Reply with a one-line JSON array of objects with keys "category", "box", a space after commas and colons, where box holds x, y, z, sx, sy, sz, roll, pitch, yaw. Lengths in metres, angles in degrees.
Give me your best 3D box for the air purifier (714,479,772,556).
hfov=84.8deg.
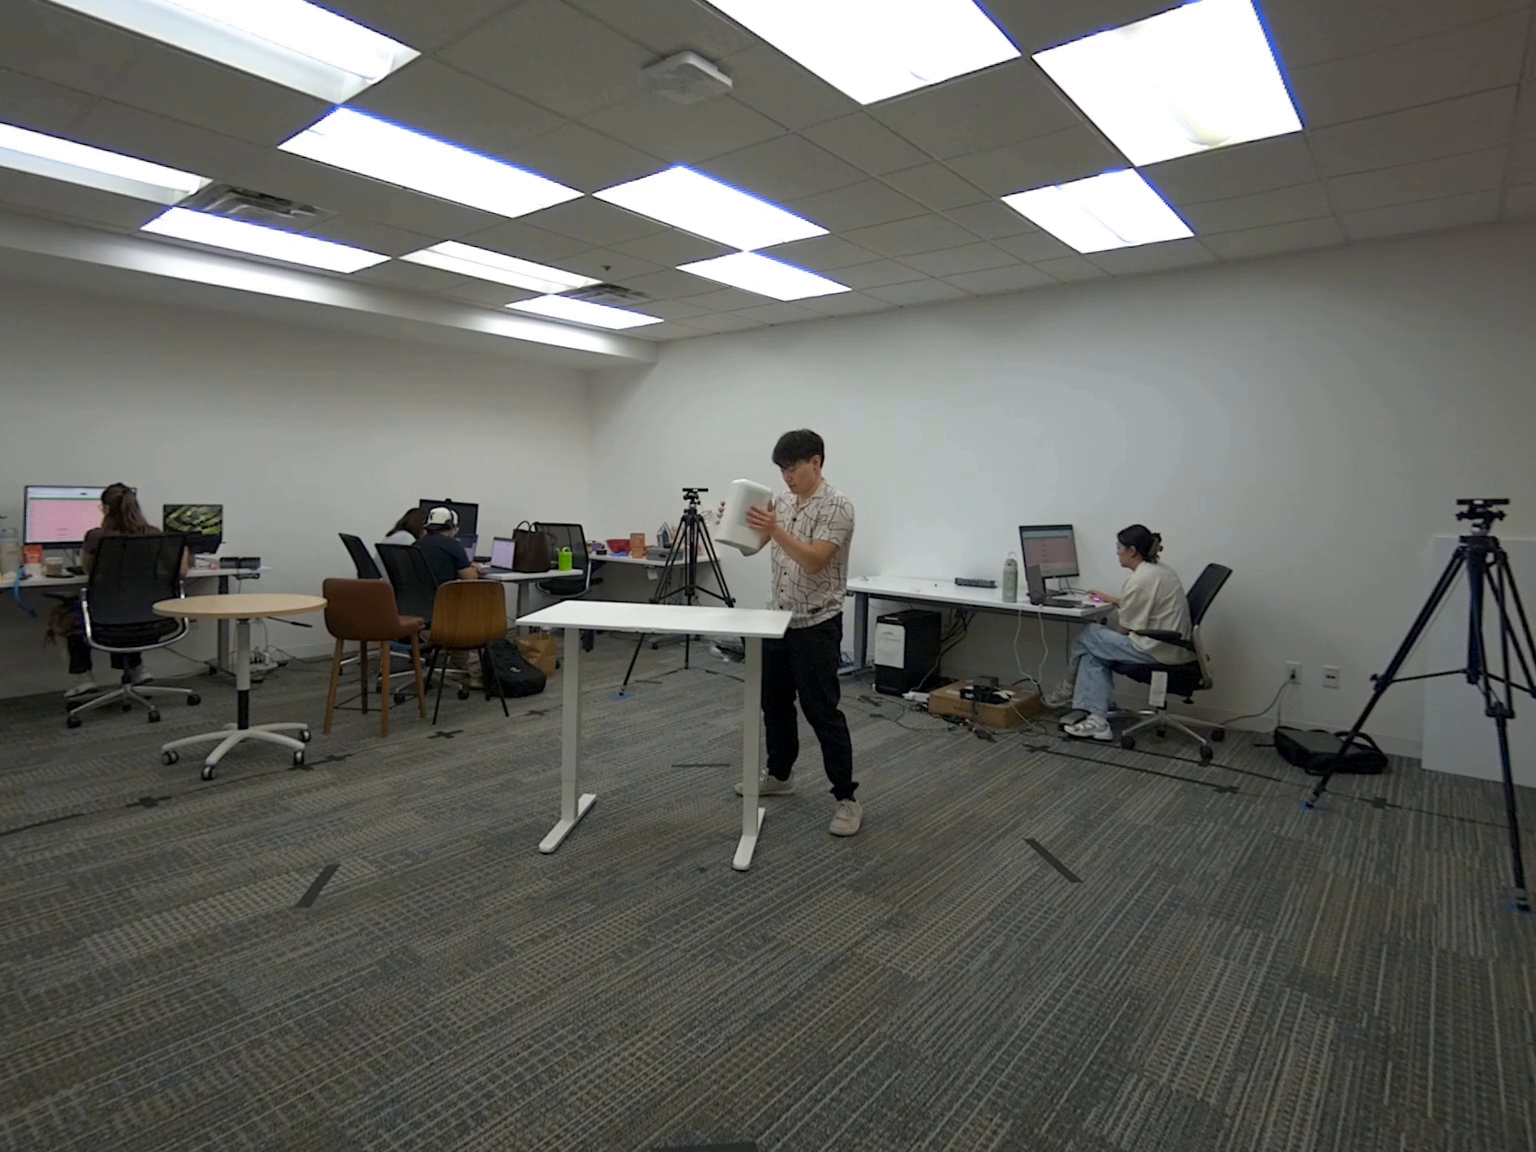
[{"category": "air purifier", "box": [-0.105, -0.259, 3.499, 0.168, 0.266, 0.174, 16, -4, -18]}]
